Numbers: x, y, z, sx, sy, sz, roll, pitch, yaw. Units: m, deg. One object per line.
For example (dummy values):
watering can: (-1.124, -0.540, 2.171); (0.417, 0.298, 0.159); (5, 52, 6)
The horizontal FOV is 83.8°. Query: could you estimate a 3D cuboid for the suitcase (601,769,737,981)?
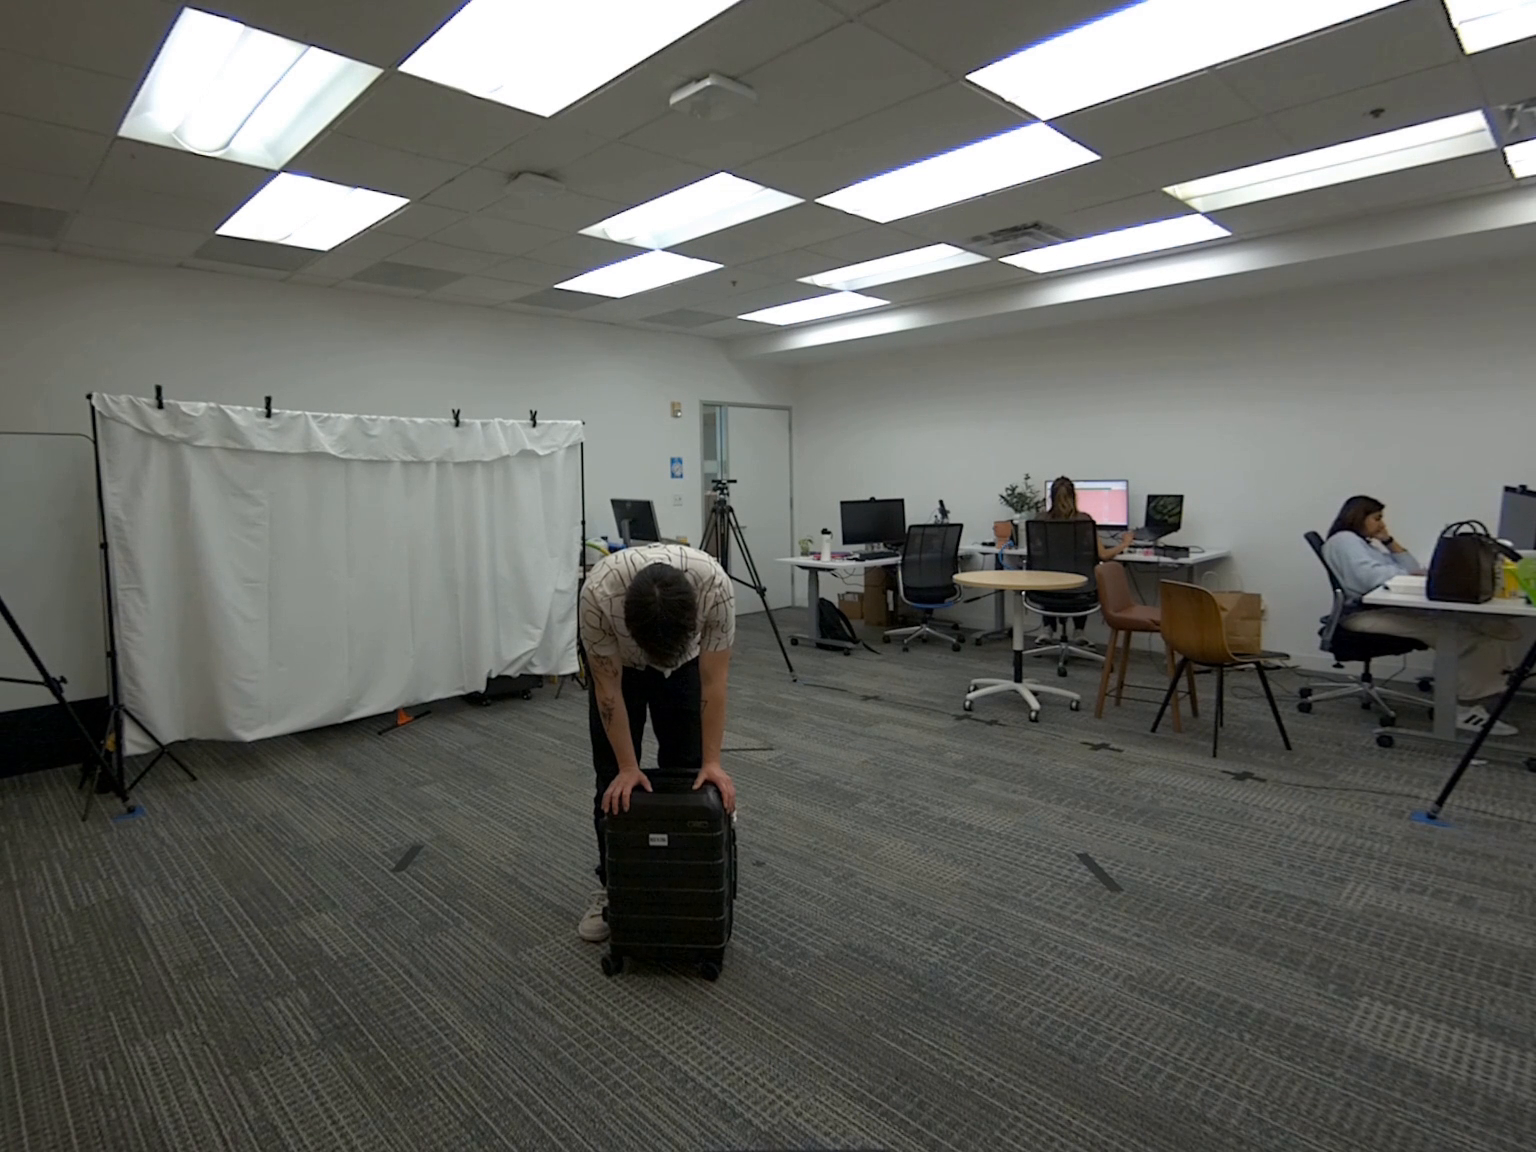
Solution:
suitcase: (-0.280, 0.853, 2.492); (0.378, 0.546, 0.248); (0, 7, 5)
